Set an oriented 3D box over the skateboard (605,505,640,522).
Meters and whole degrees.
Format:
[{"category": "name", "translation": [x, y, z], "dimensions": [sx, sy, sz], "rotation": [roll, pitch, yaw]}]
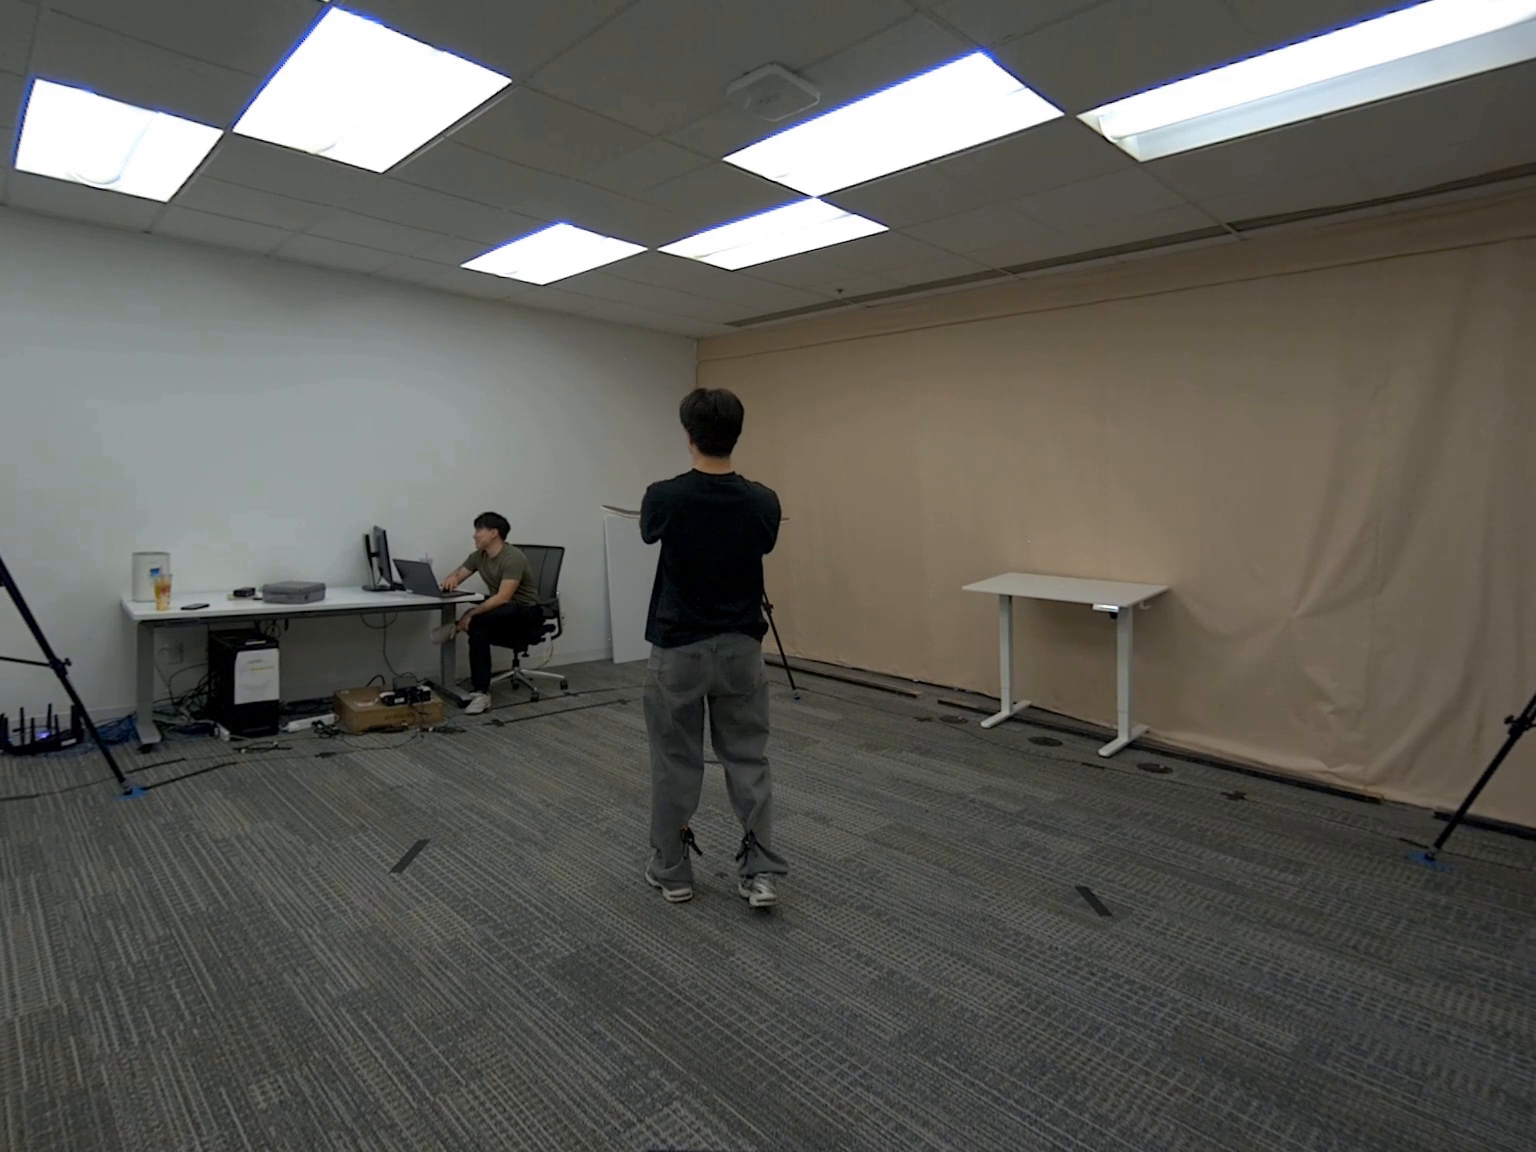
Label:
[{"category": "skateboard", "translation": [-0.236, -0.206, 3.490], "dimensions": [0.780, 0.110, 0.196], "rotation": [3, 10, -7]}]
